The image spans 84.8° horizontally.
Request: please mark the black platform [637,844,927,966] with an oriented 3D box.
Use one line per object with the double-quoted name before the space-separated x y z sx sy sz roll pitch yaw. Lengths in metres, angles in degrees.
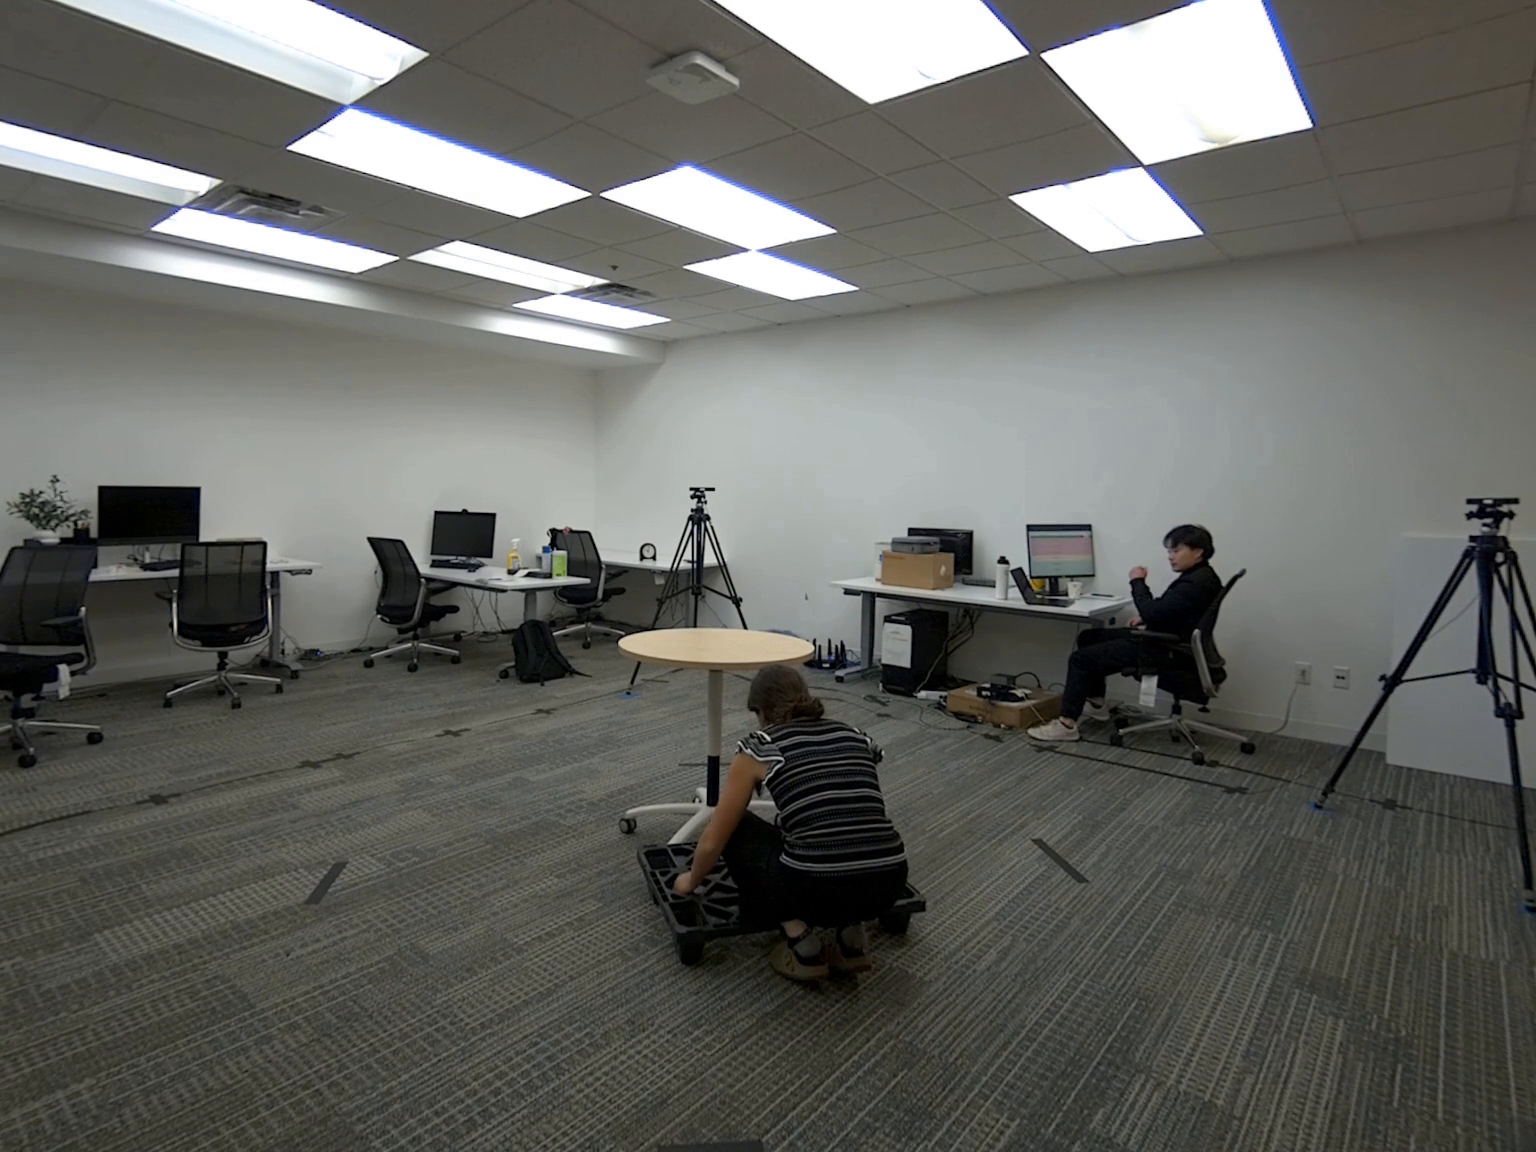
"black platform" 0.004 1.027 2.799 0.791 0.143 0.618 0 4 -18
